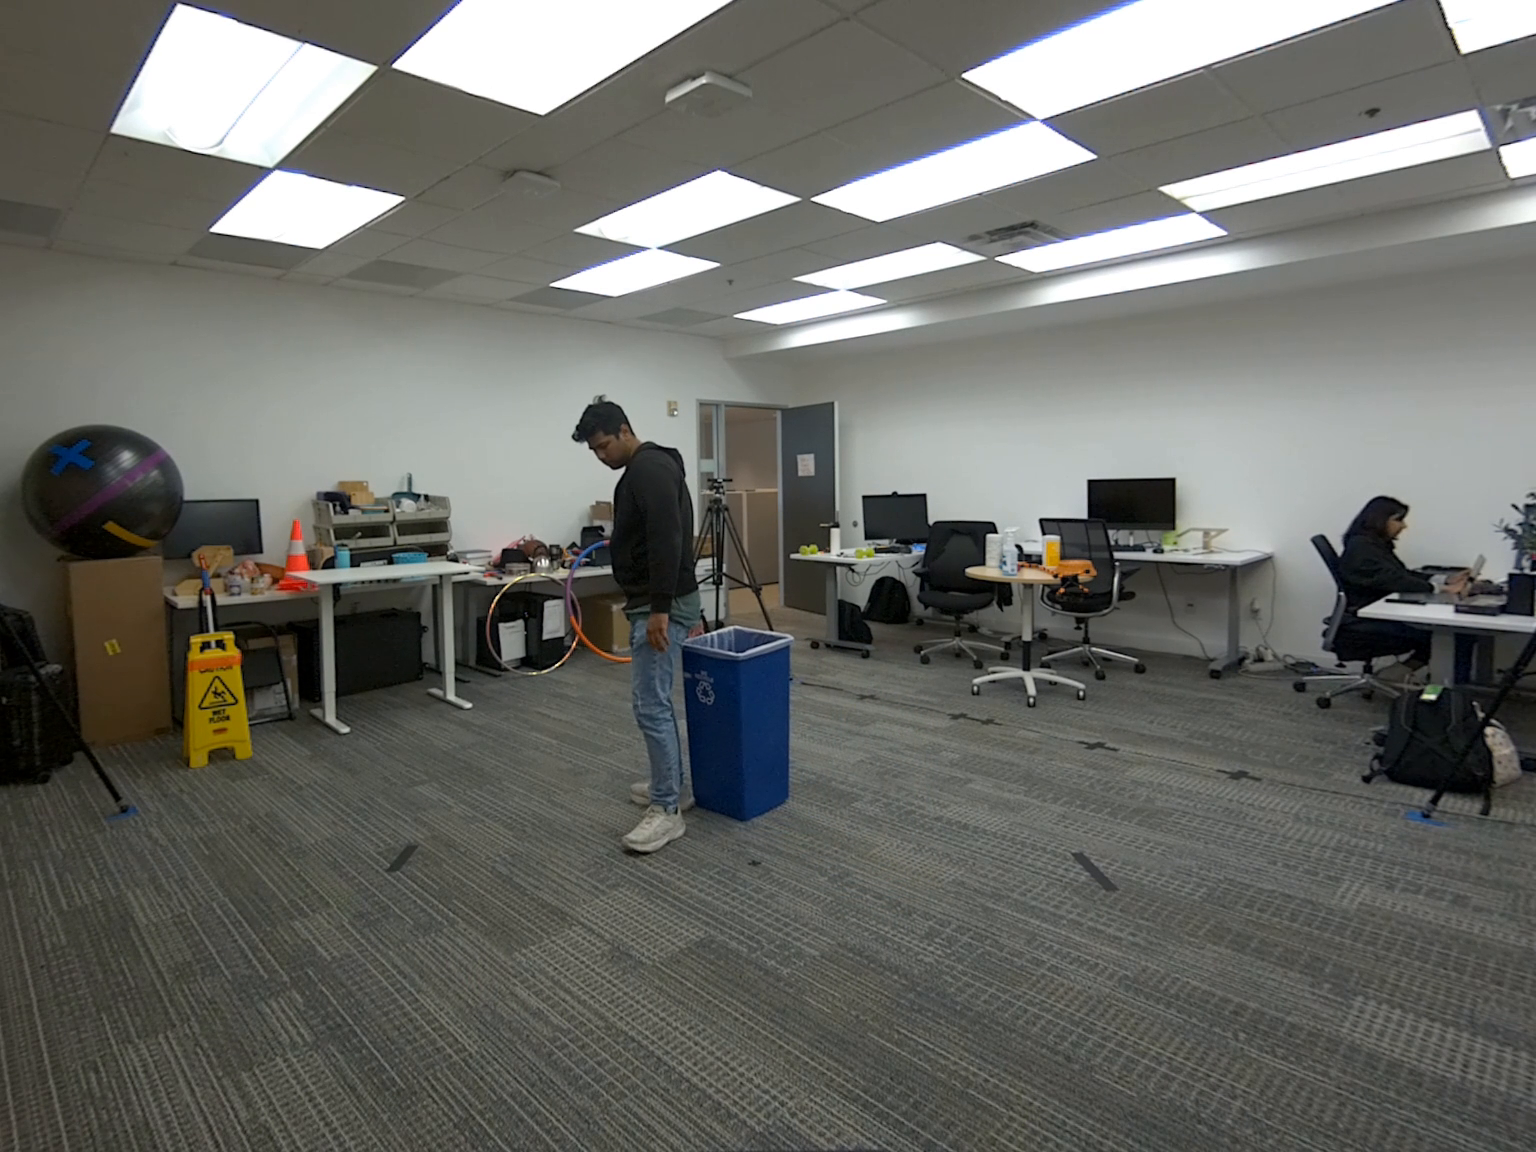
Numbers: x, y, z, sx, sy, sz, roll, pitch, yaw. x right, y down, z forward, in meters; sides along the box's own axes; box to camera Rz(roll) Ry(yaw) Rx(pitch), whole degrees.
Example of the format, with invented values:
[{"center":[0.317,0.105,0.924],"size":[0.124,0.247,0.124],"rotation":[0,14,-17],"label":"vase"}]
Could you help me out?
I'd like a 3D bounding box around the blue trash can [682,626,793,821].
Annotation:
[{"center":[-0.124,0.620,3.640],"size":[0.390,0.709,0.365],"rotation":[5,9,40],"label":"blue trash can"}]
